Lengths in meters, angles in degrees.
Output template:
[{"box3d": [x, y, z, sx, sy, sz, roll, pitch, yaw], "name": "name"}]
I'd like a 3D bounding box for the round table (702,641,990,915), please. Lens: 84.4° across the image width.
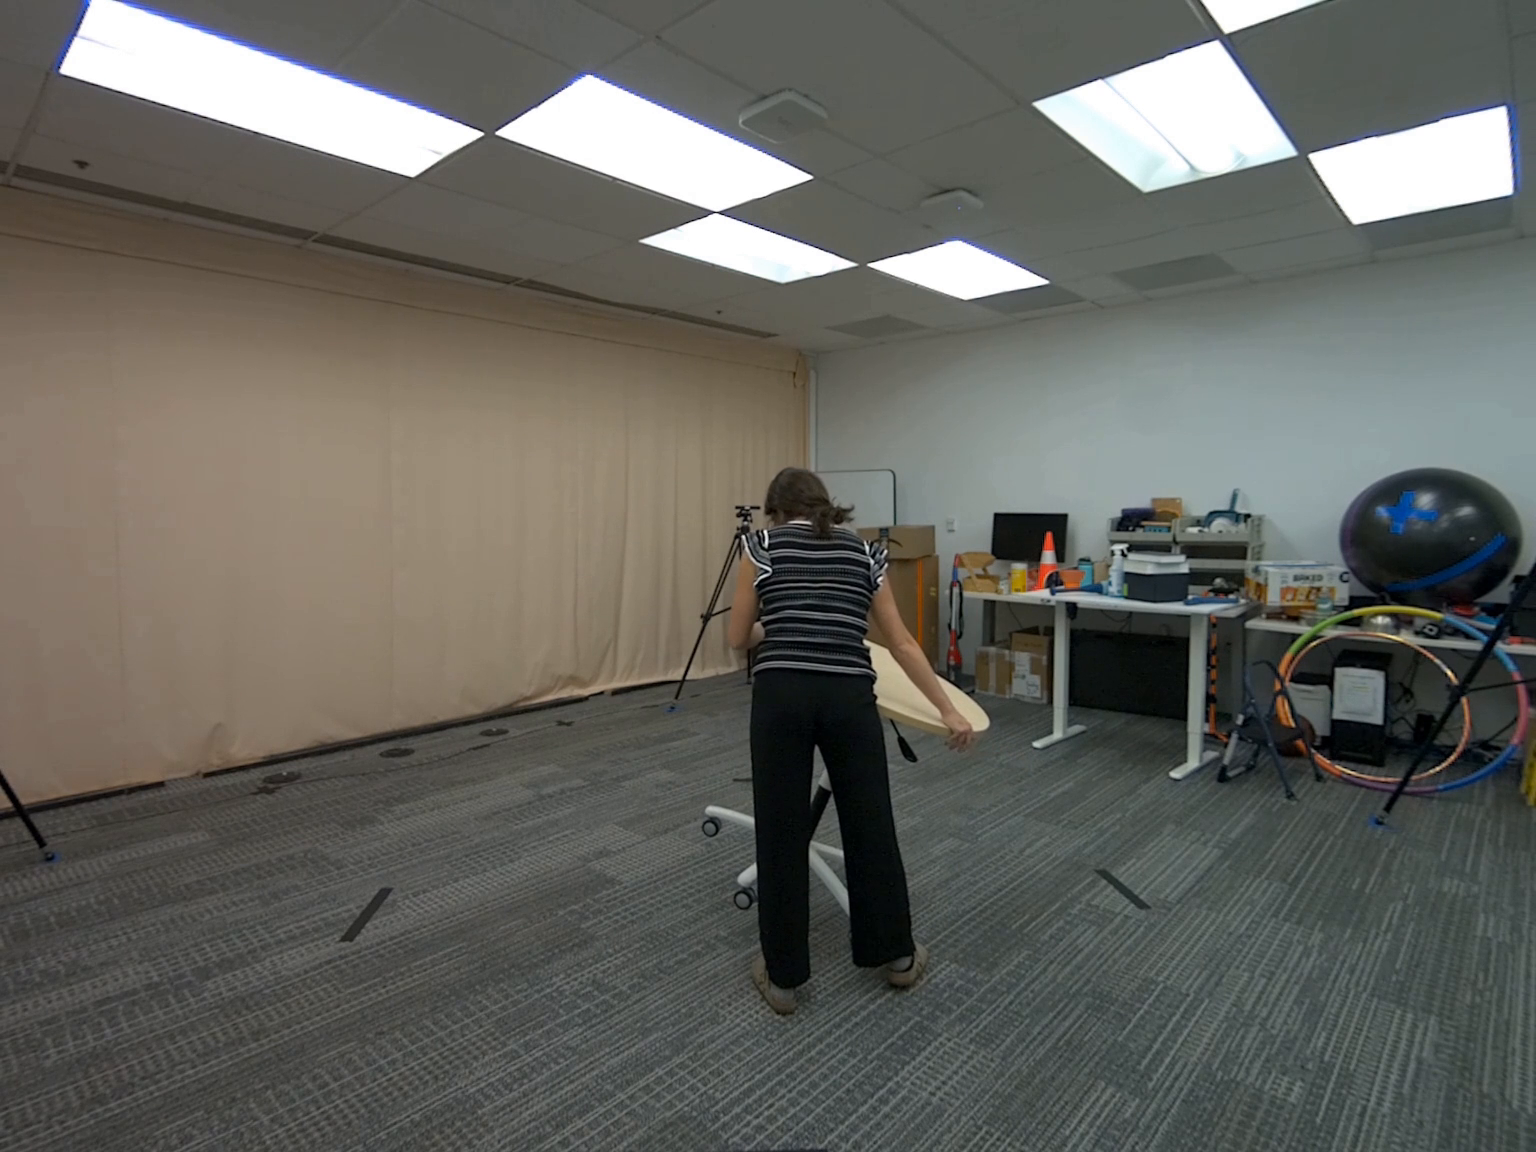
[{"box3d": [0.201, 0.672, 2.839, 0.781, 0.785, 0.791, 21, 9, -5], "name": "round table"}]
